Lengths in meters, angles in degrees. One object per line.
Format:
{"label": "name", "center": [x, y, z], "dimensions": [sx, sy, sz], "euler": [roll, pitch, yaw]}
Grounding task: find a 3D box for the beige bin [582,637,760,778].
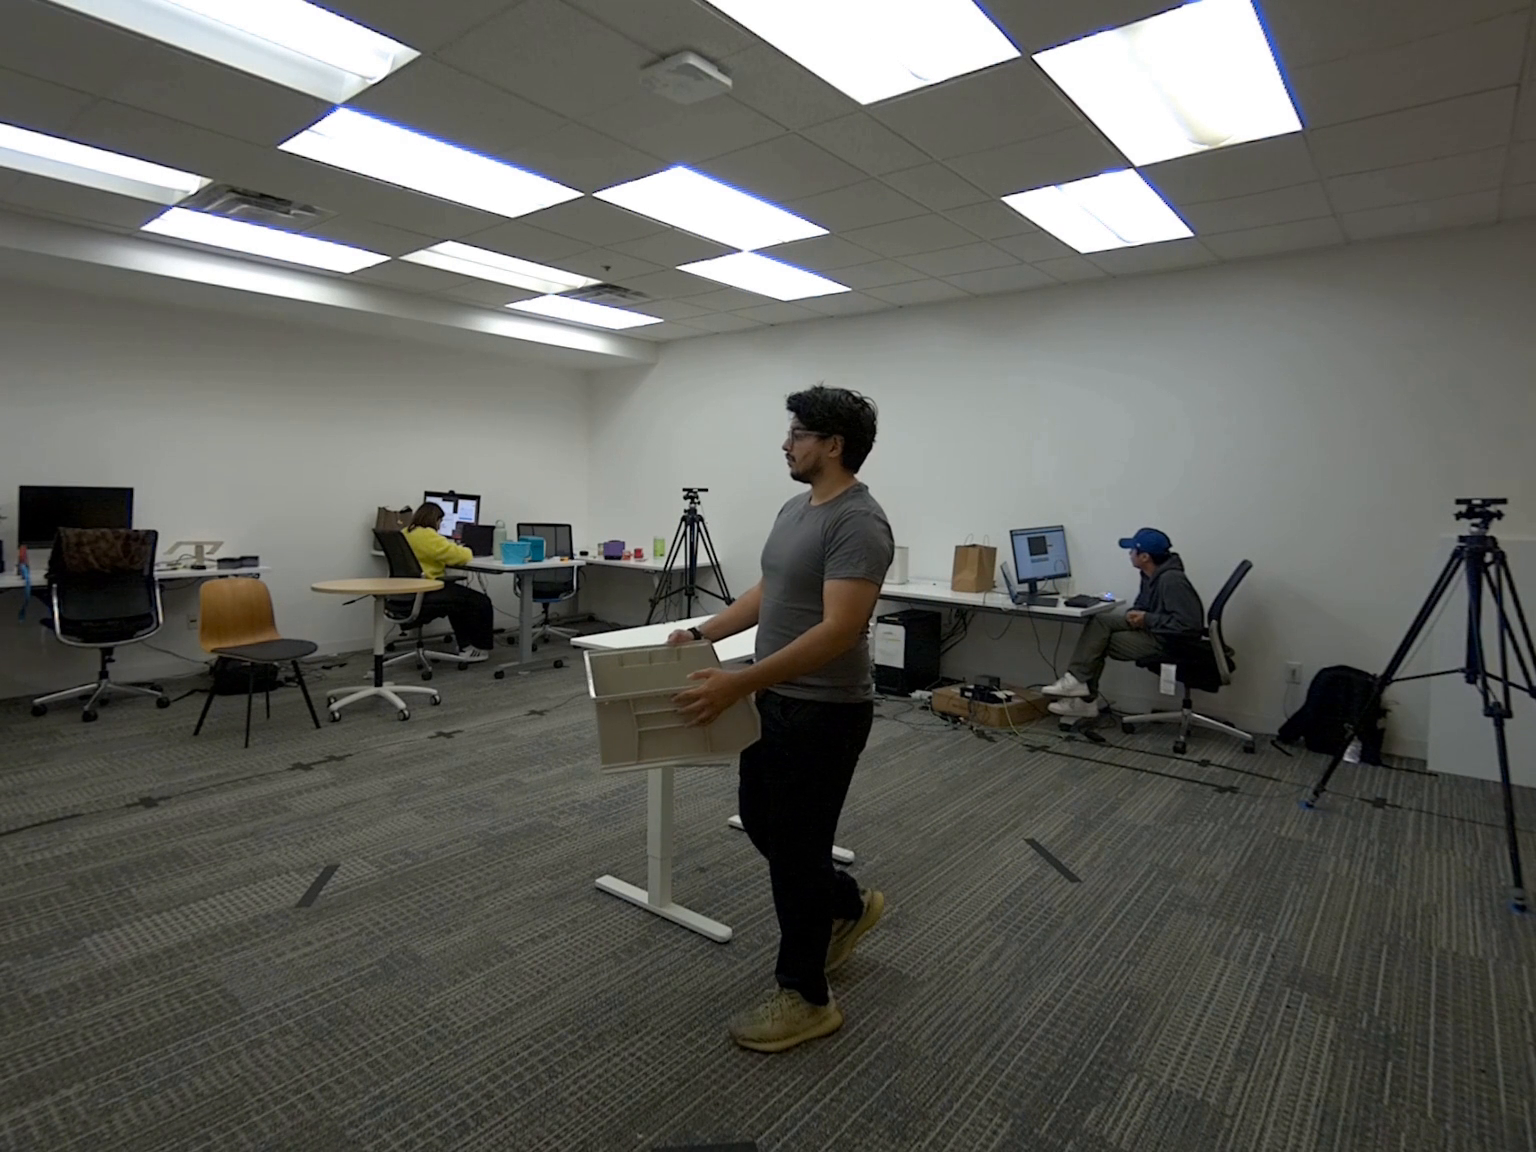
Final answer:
{"label": "beige bin", "center": [-0.254, 0.300, 2.105], "dimensions": [0.373, 0.187, 0.432], "euler": [-7, 10, -14]}
